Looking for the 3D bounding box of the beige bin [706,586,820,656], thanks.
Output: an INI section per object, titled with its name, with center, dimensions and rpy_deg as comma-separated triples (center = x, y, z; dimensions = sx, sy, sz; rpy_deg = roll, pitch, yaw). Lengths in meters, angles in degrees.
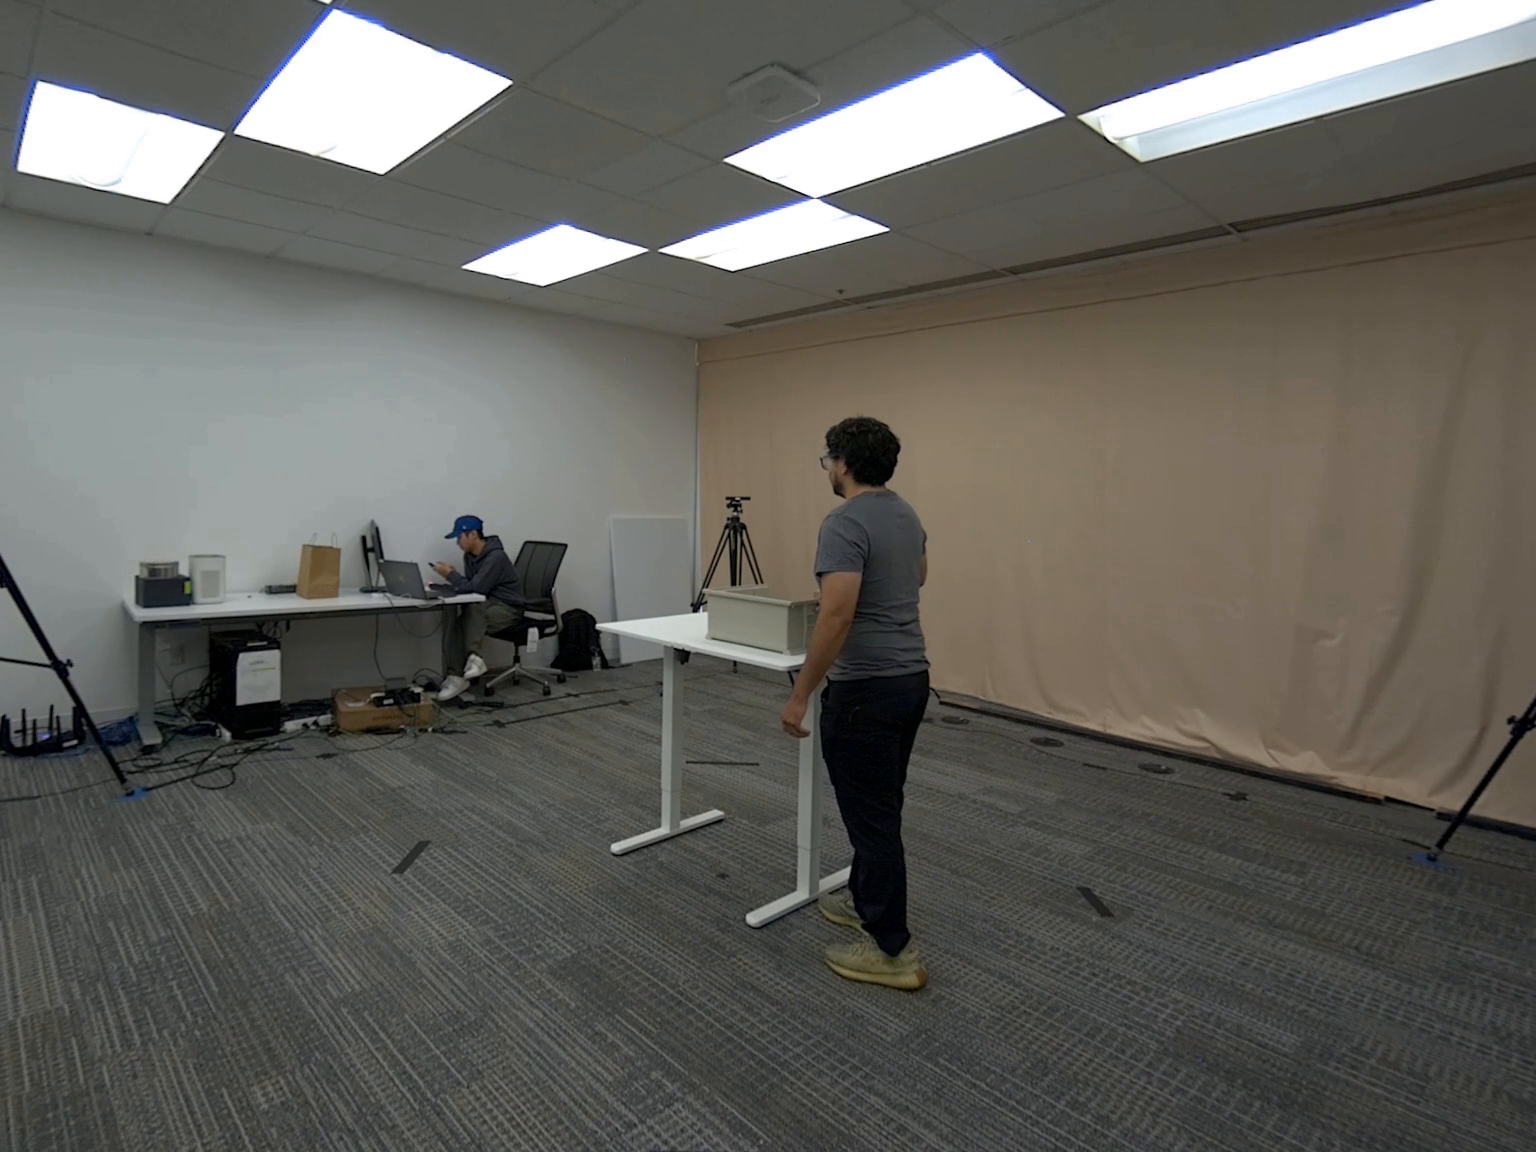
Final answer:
[beige bin]
center = 0.040, 0.146, 3.021
dimensions = 0.433, 0.188, 0.369
rpy_deg = 7, 9, 44
